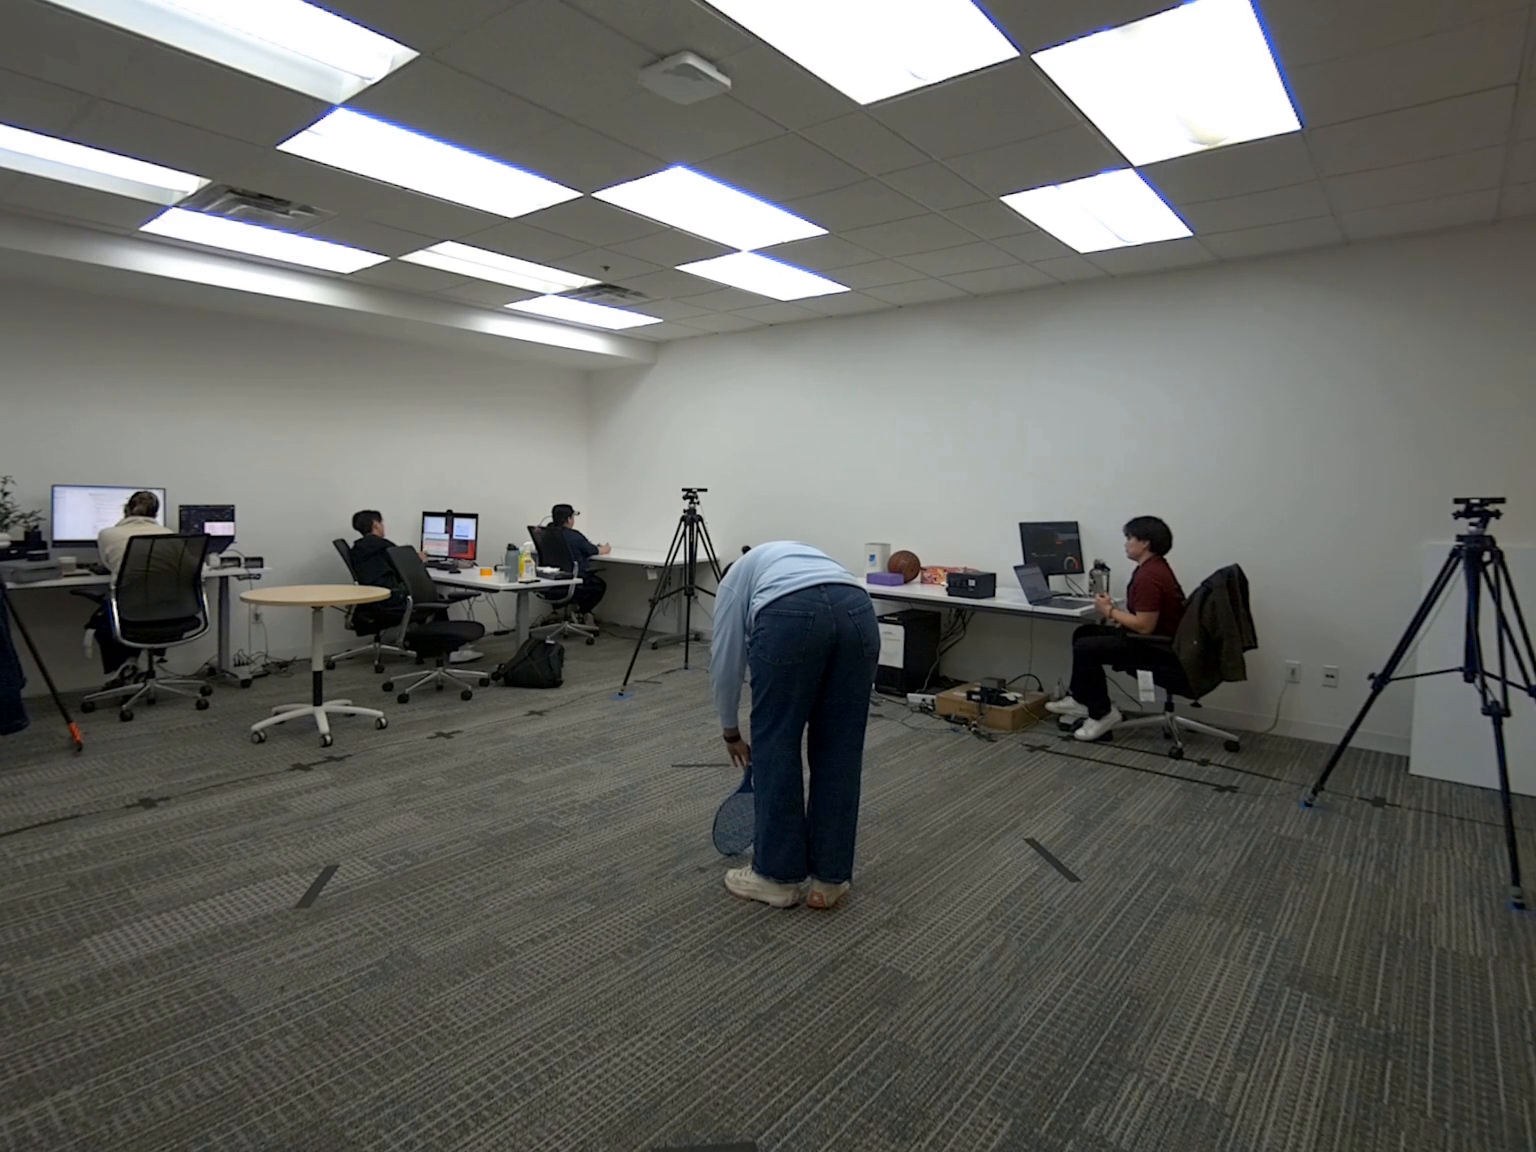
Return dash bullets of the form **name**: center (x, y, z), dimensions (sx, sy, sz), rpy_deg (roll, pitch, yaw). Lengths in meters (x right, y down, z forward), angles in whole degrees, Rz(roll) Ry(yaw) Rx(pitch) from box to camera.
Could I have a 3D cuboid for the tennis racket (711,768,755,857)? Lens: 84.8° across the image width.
- **tennis racket**: center (-0.107, 0.849, 3.194), dimensions (0.207, 0.430, 0.033), rpy_deg (9, 10, -30)
